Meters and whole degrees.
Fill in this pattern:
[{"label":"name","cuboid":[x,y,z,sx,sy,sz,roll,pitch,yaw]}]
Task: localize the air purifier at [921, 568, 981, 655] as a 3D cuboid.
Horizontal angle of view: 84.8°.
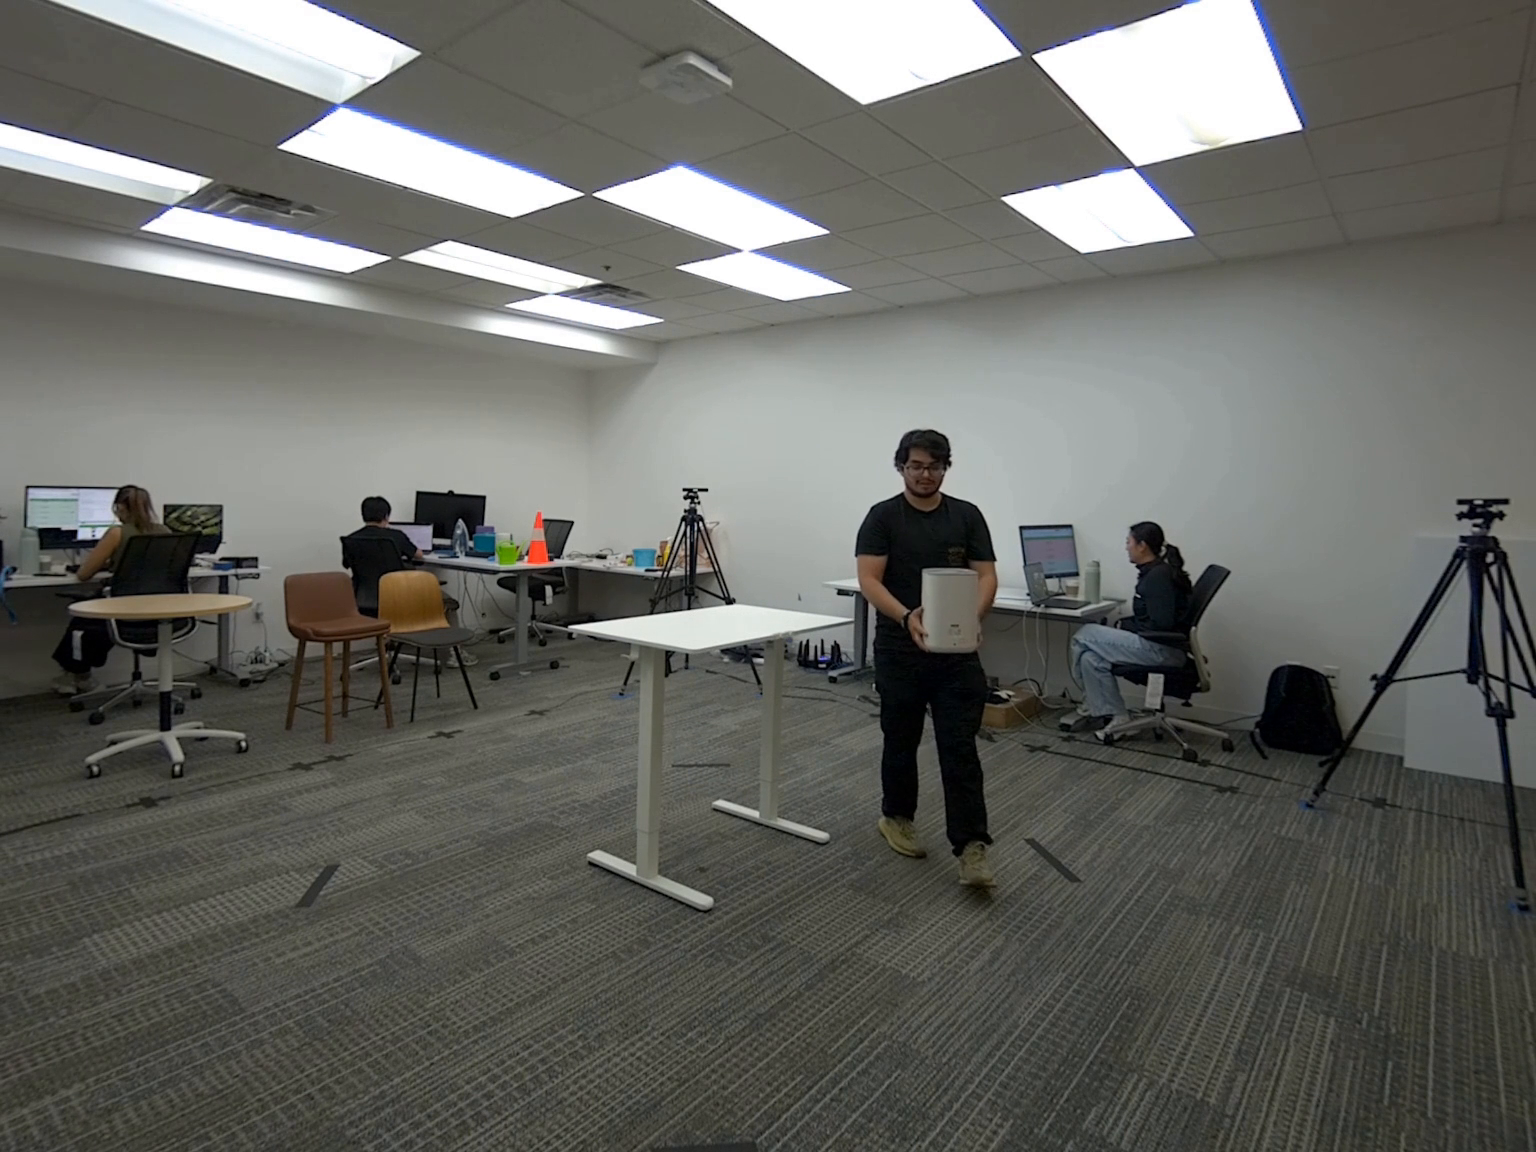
[{"label":"air purifier","cuboid":[0.601,0.106,2.858,0.171,0.264,0.172,-1,3,0]}]
